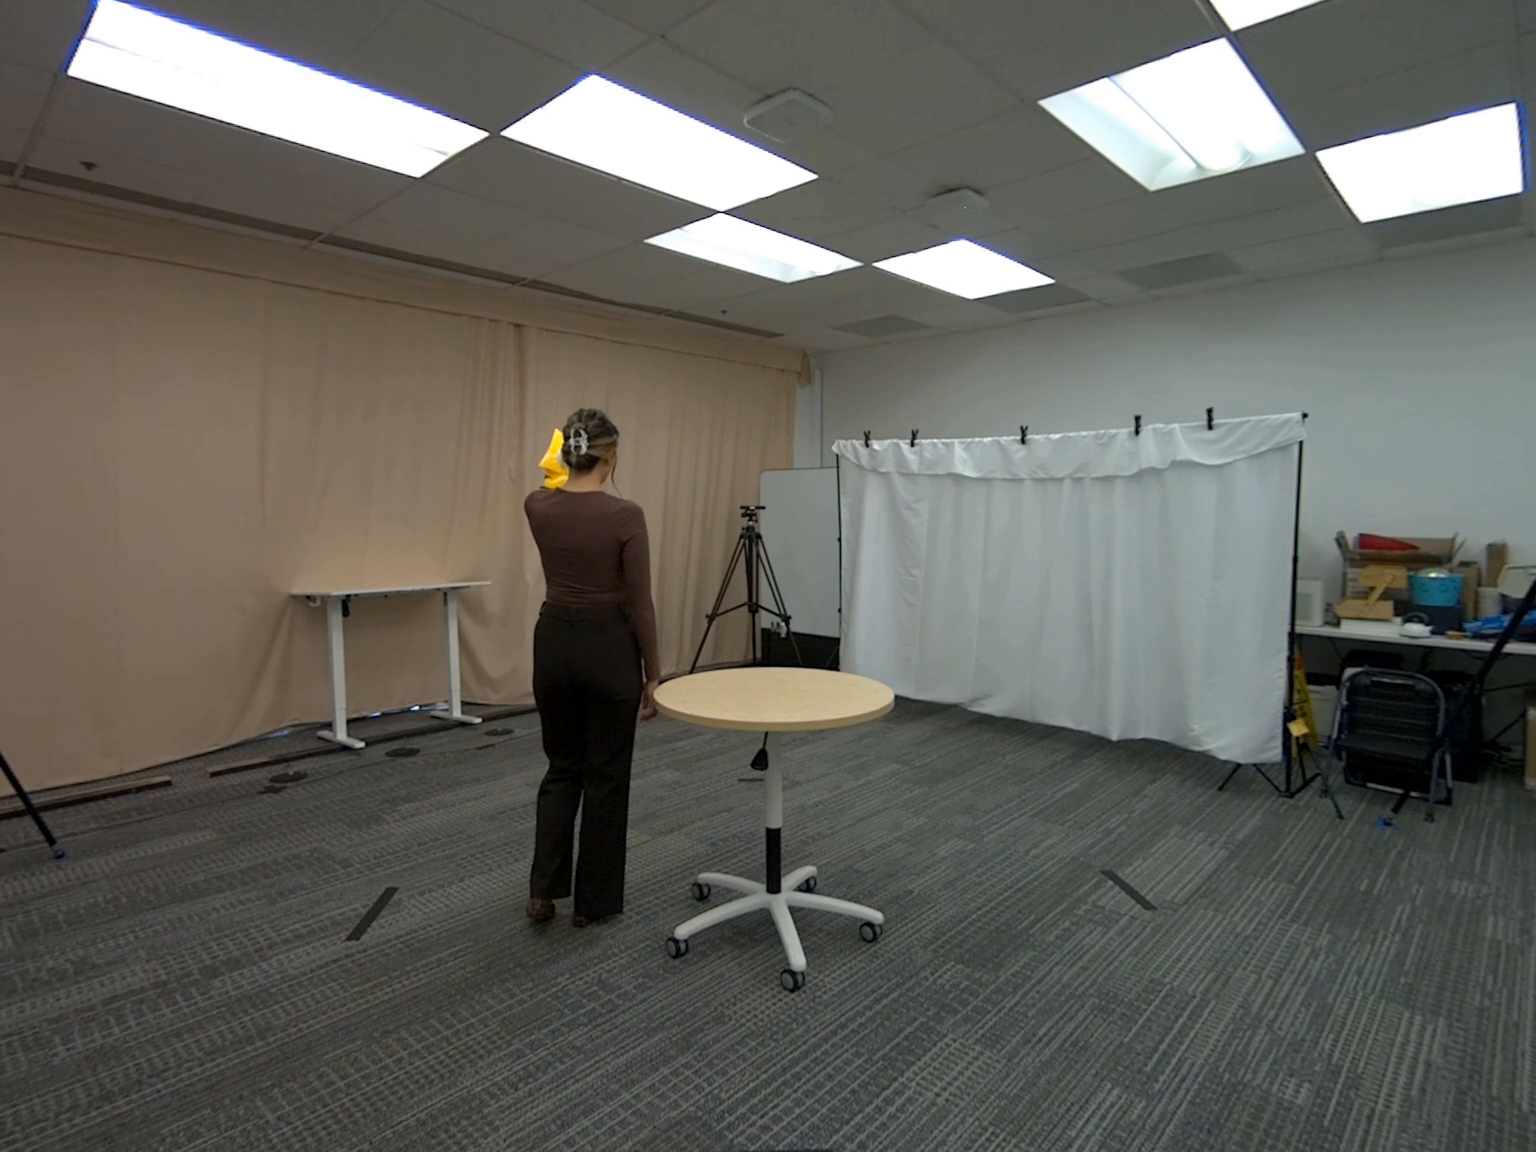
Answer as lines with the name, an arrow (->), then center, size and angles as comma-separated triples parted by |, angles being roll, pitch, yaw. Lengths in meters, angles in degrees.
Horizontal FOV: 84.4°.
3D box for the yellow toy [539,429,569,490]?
yellow toy -> -0.821, -0.470, 3.400 | 0.191, 0.230, 0.207 | 11, 8, -9
